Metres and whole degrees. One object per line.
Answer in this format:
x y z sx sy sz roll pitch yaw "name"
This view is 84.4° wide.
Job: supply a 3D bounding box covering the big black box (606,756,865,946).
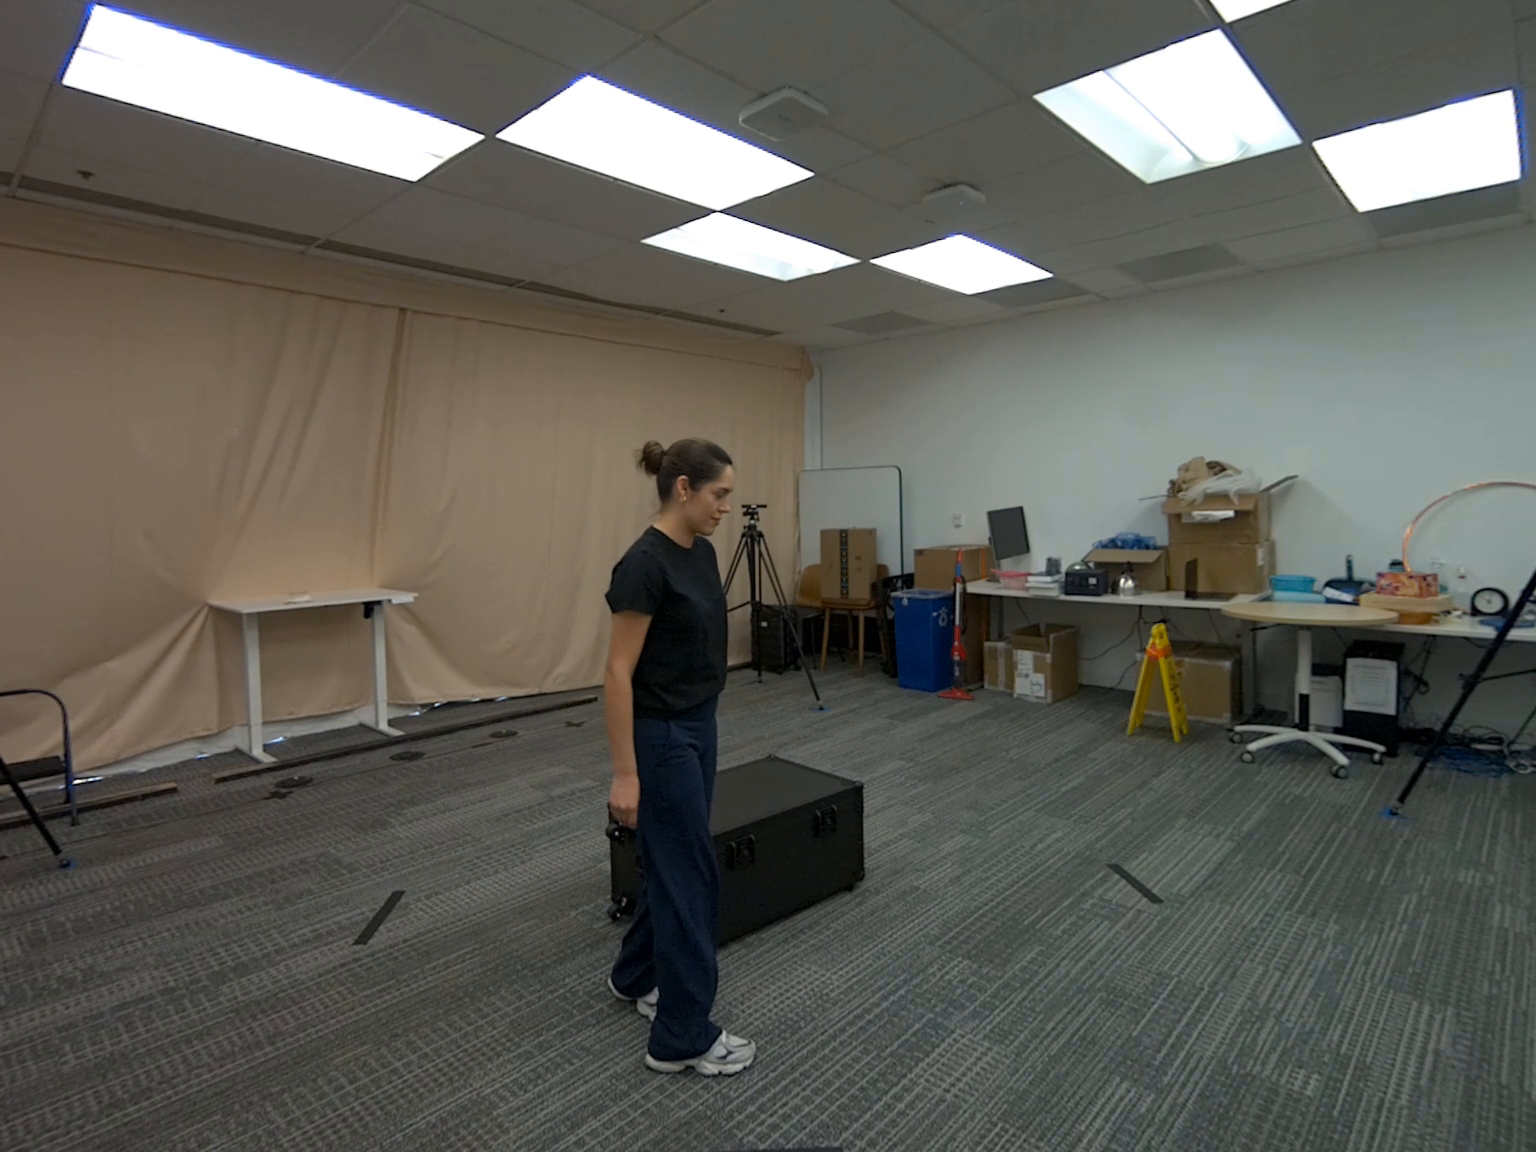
-0.065 0.951 3.002 0.836 0.395 0.538 -6 7 -40 "big black box"
